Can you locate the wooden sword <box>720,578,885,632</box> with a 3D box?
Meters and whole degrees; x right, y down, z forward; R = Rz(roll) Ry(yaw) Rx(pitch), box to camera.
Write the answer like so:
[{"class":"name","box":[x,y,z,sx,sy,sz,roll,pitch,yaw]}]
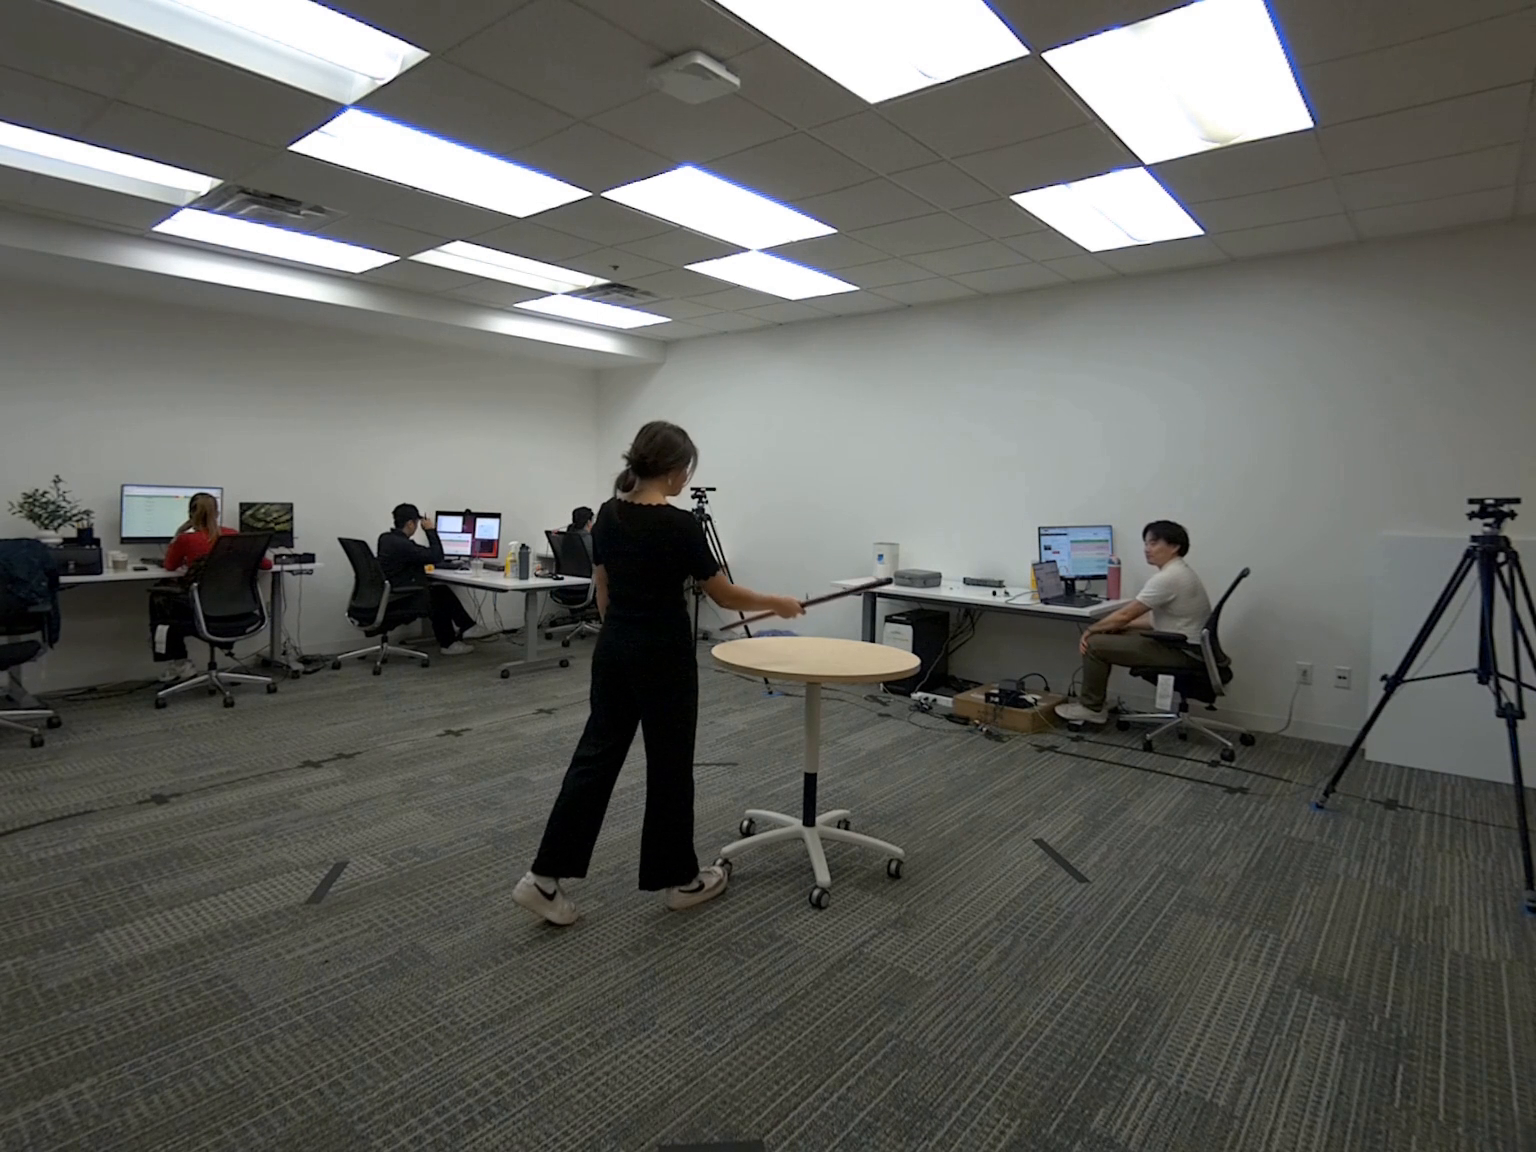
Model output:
[{"class":"wooden sword","box":[0.065,0.126,2.989,0.023,0.052,1.038,6,-16,-28]}]
